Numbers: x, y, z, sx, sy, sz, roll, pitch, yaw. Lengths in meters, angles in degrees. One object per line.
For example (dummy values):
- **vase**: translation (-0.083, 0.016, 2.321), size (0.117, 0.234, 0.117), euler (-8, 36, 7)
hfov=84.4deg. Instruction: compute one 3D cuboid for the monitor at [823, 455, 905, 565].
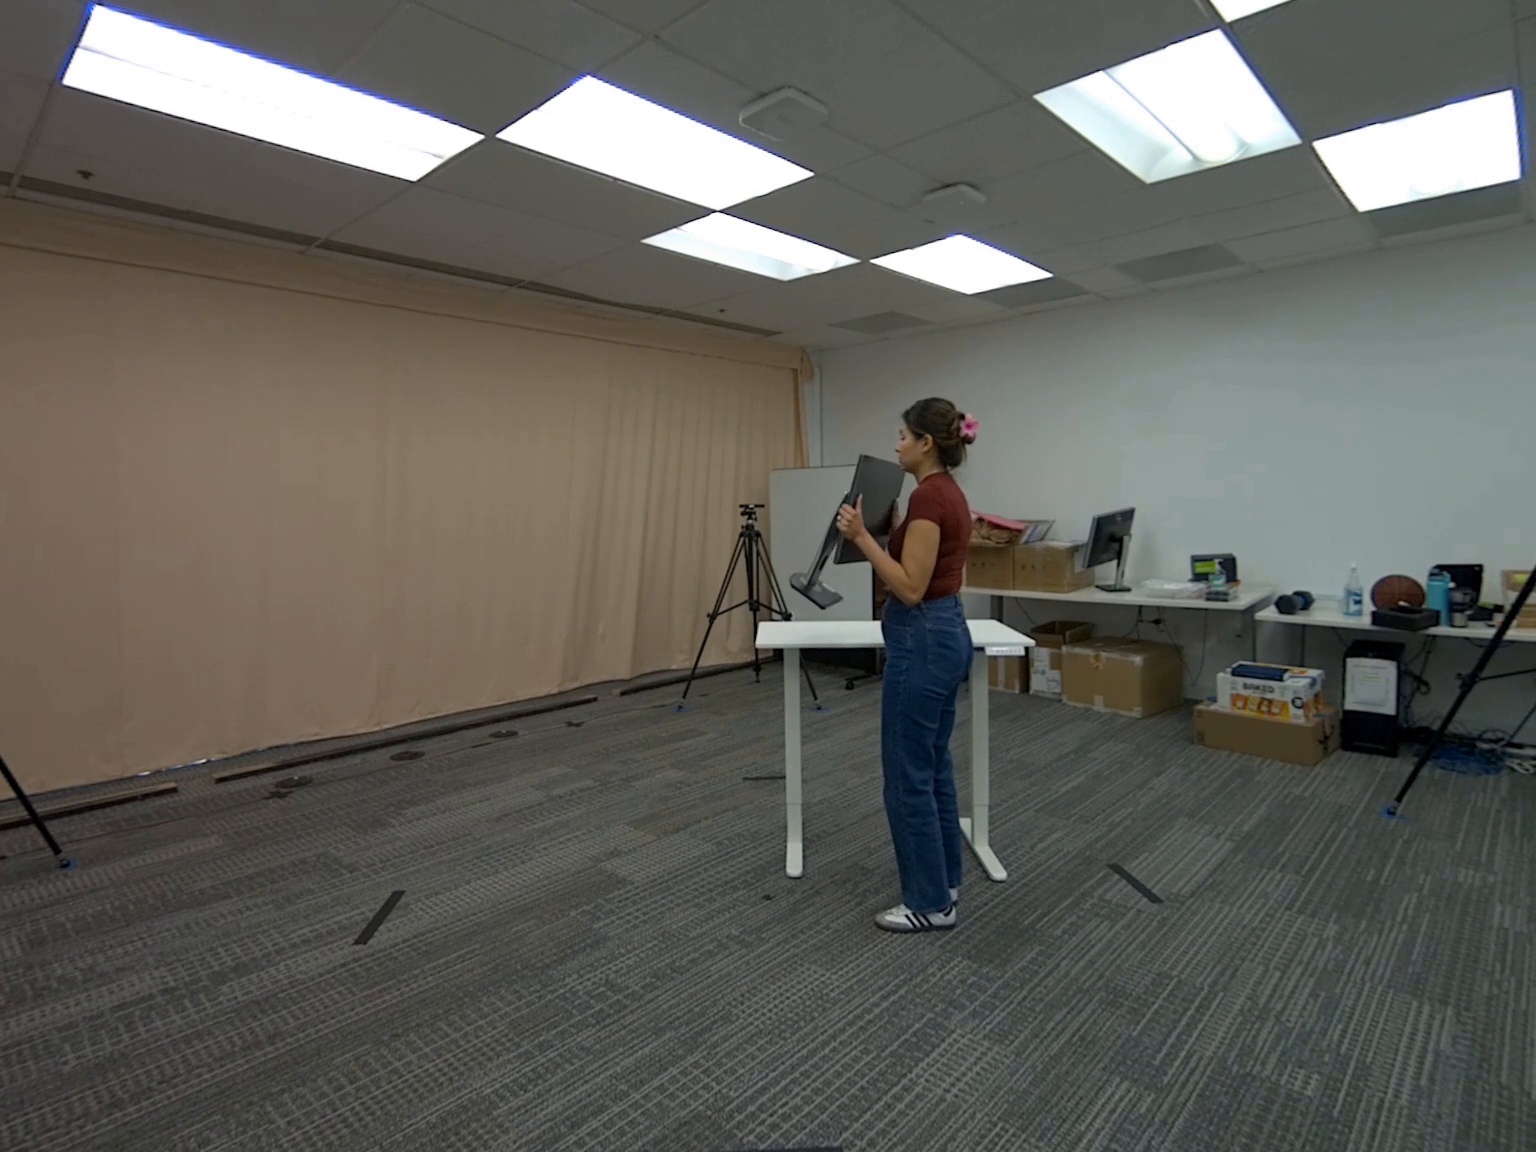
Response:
- **monitor**: translation (0.296, -0.154, 2.886), size (0.191, 0.522, 0.527), euler (33, 14, 18)
